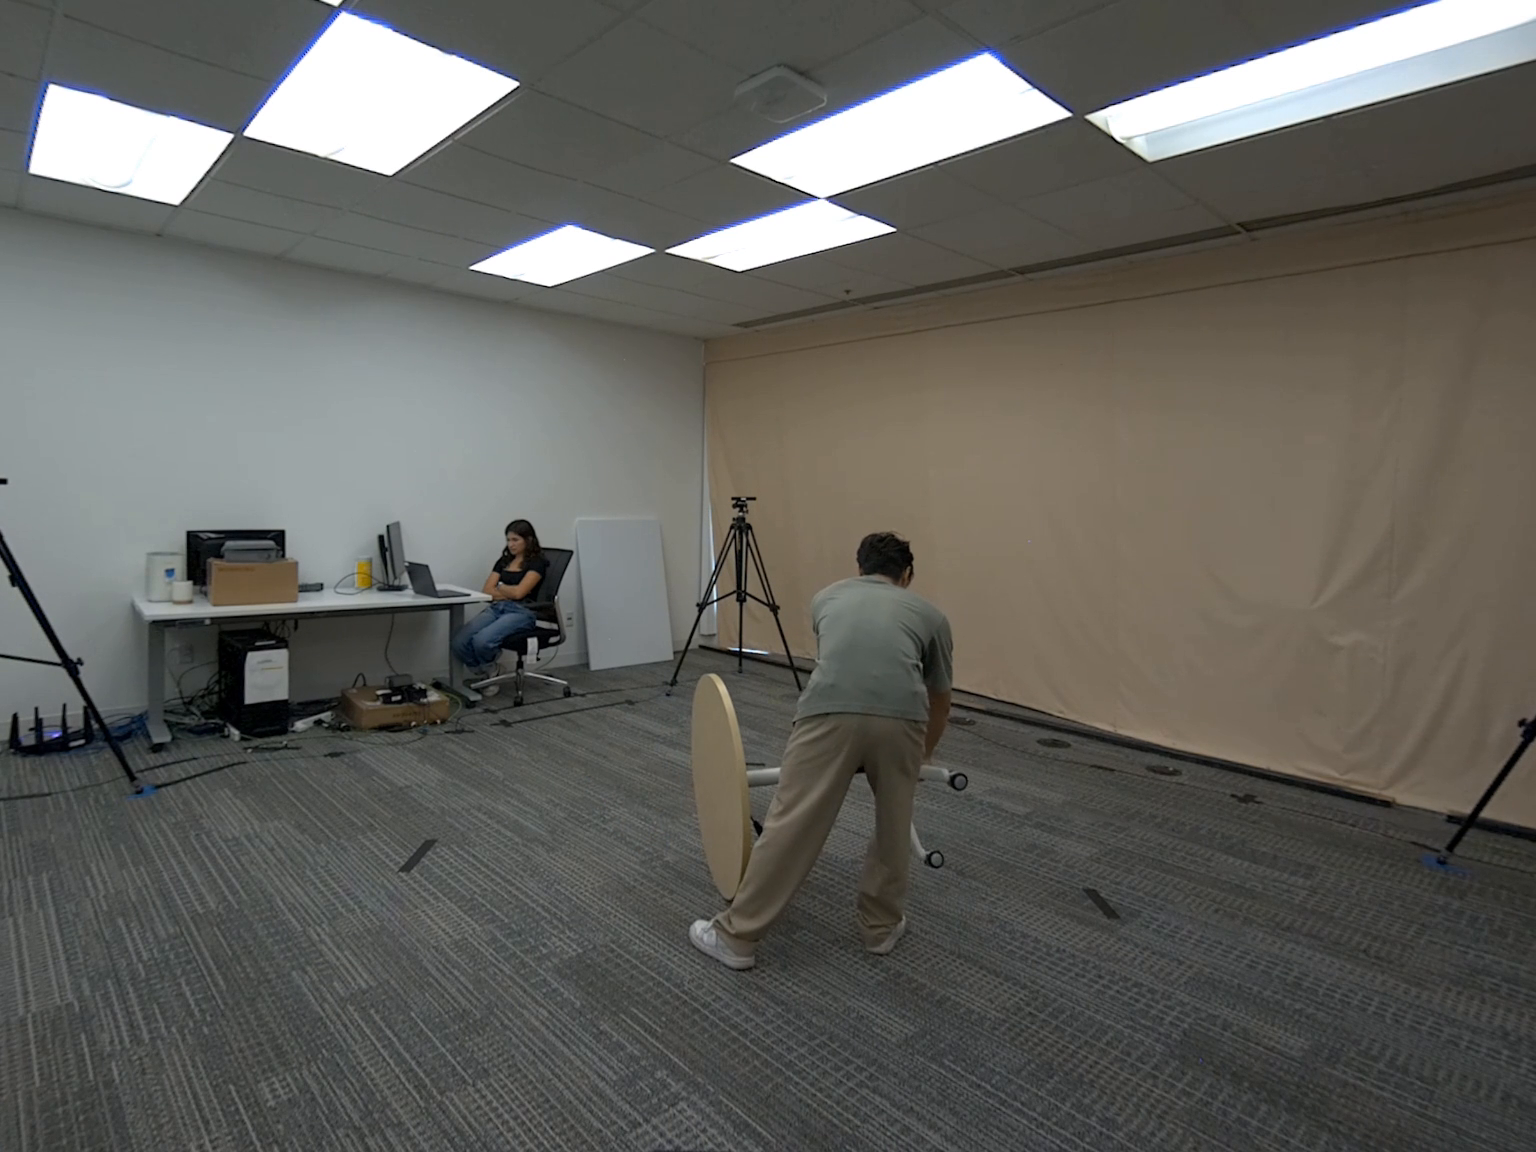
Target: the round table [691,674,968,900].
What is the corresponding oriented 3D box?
[{"bbox_3d":[0.189,0.723,3.081,0.777,0.782,0.796,-2,5,-15],"label":"round table"}]
